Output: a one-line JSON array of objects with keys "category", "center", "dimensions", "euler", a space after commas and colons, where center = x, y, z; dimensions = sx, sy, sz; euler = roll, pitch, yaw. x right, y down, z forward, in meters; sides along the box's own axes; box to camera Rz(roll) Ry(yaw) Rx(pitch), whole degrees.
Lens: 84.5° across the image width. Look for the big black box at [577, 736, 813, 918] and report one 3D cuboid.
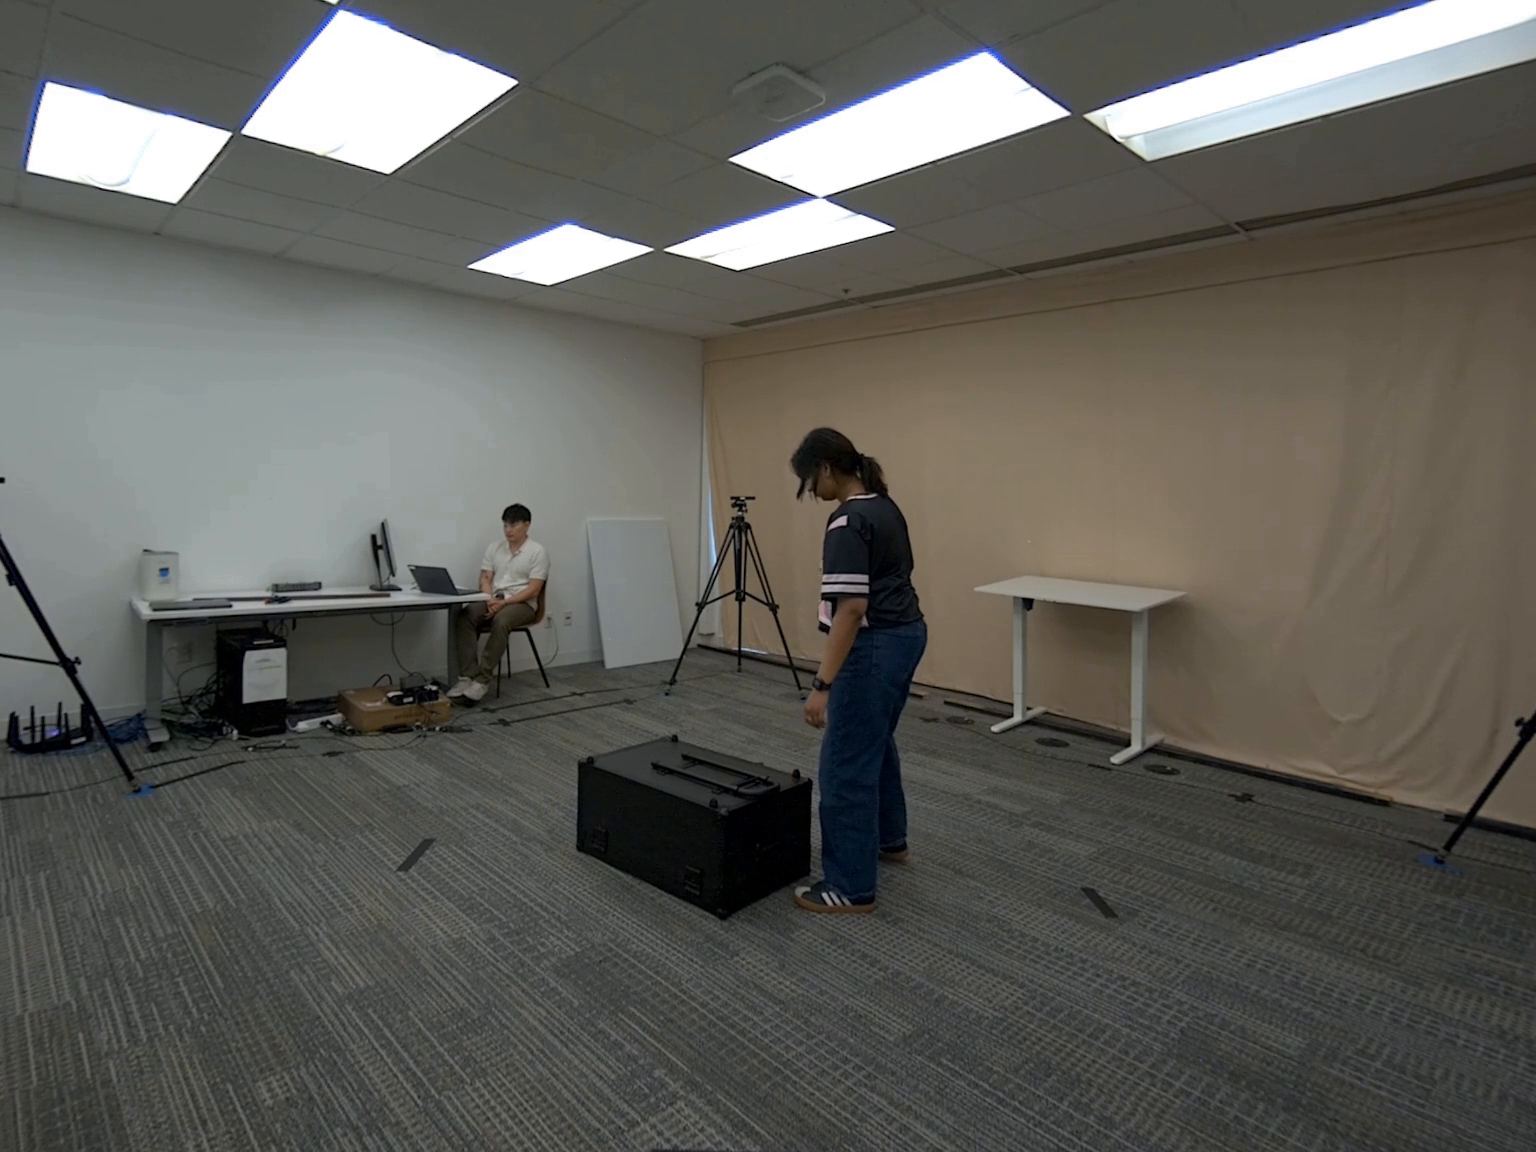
[{"category": "big black box", "center": [-0.329, 0.906, 3.215], "dimensions": [0.890, 0.384, 0.512], "euler": [5, 7, 41]}]
